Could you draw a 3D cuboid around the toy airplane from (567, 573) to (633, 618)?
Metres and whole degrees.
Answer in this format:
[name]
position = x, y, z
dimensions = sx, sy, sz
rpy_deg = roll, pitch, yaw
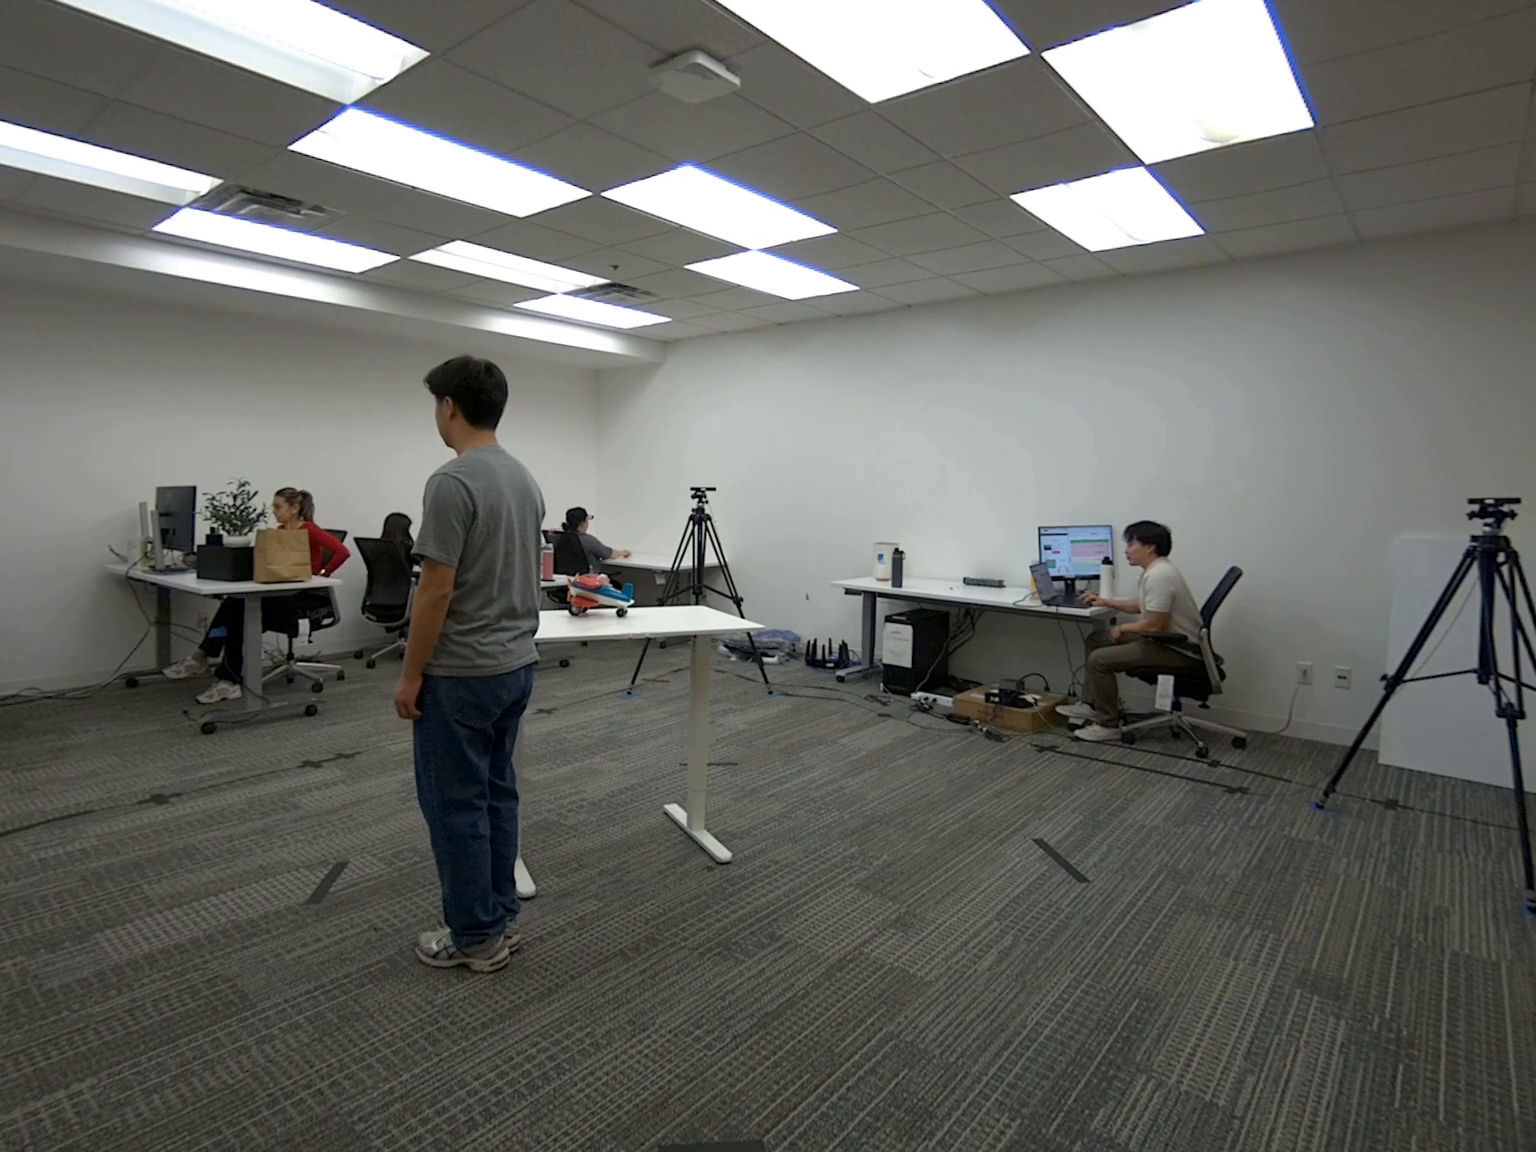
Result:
[toy airplane]
position = -0.676, 0.073, 3.355
dimensions = 0.254, 0.156, 0.257
rpy_deg = -2, 7, -20
